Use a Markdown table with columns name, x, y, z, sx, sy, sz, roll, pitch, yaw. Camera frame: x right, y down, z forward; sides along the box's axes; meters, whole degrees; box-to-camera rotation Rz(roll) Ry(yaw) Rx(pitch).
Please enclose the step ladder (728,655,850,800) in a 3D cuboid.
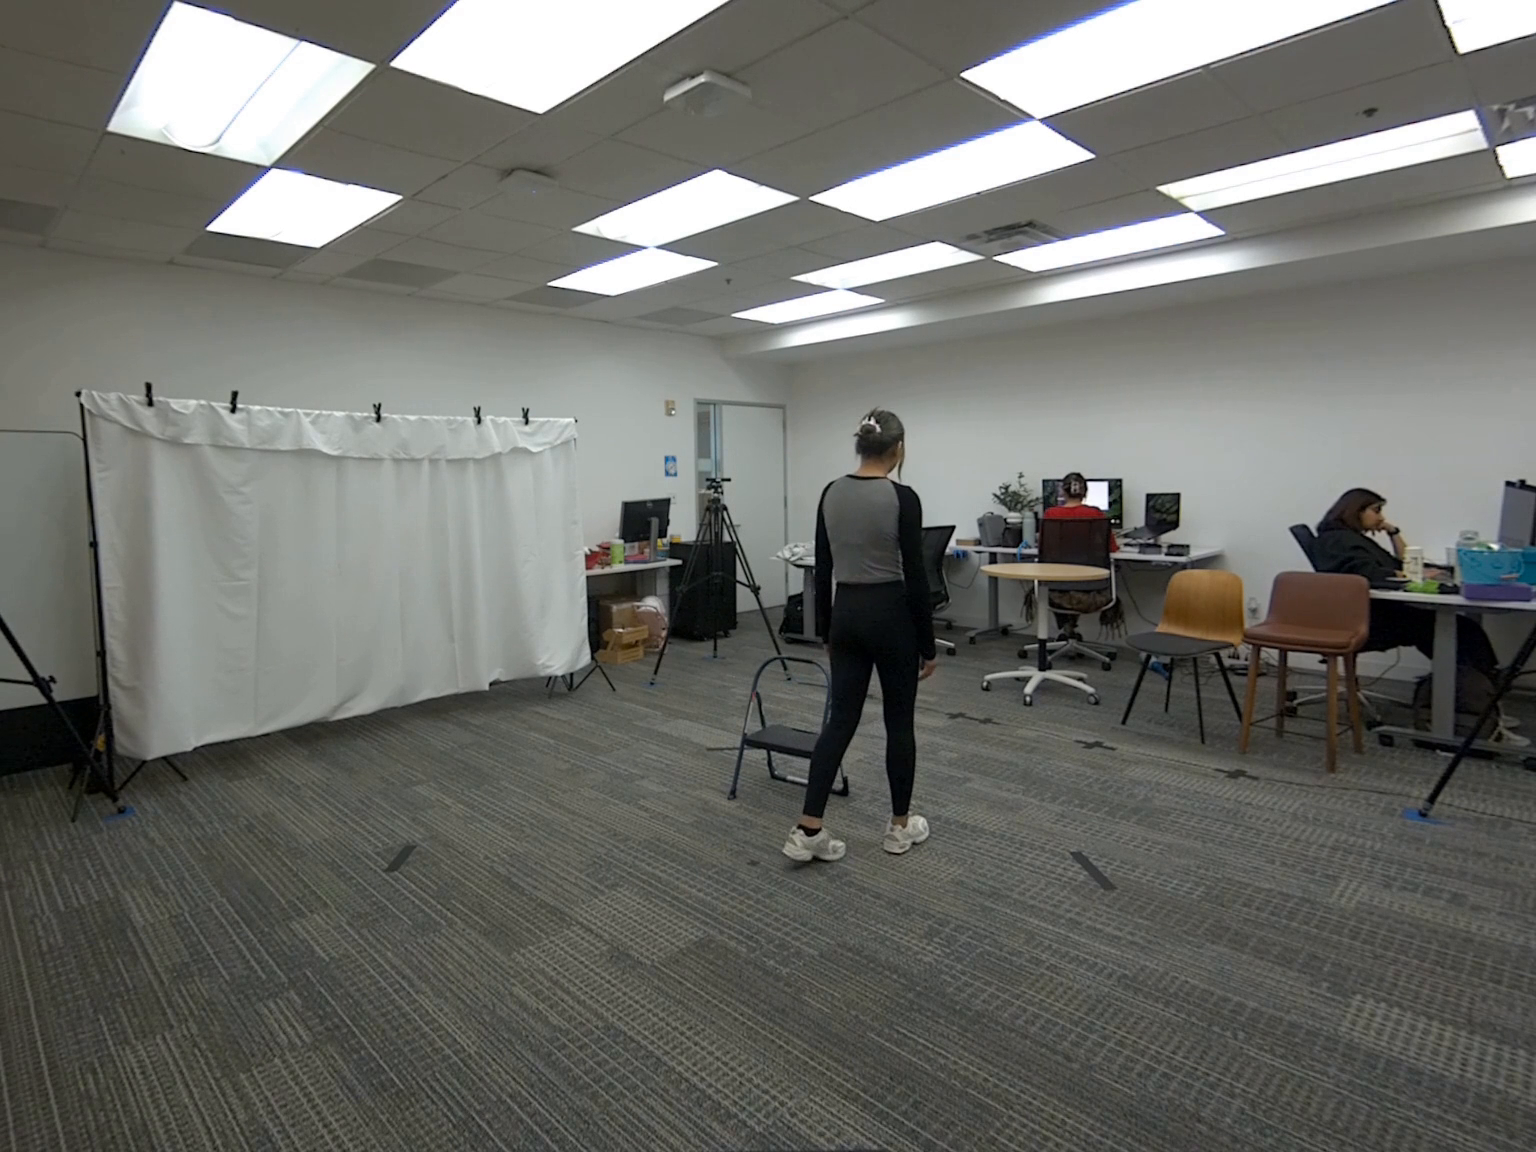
| name | x | y | z | sx | sy | sz | roll | pitch | yaw |
| --- | --- | --- | --- | --- | --- | --- | --- | --- | --- |
| step ladder | 0.090 | 0.666 | 3.726 | 0.443 | 0.604 | 0.340 | 3 | 5 | 36 |
